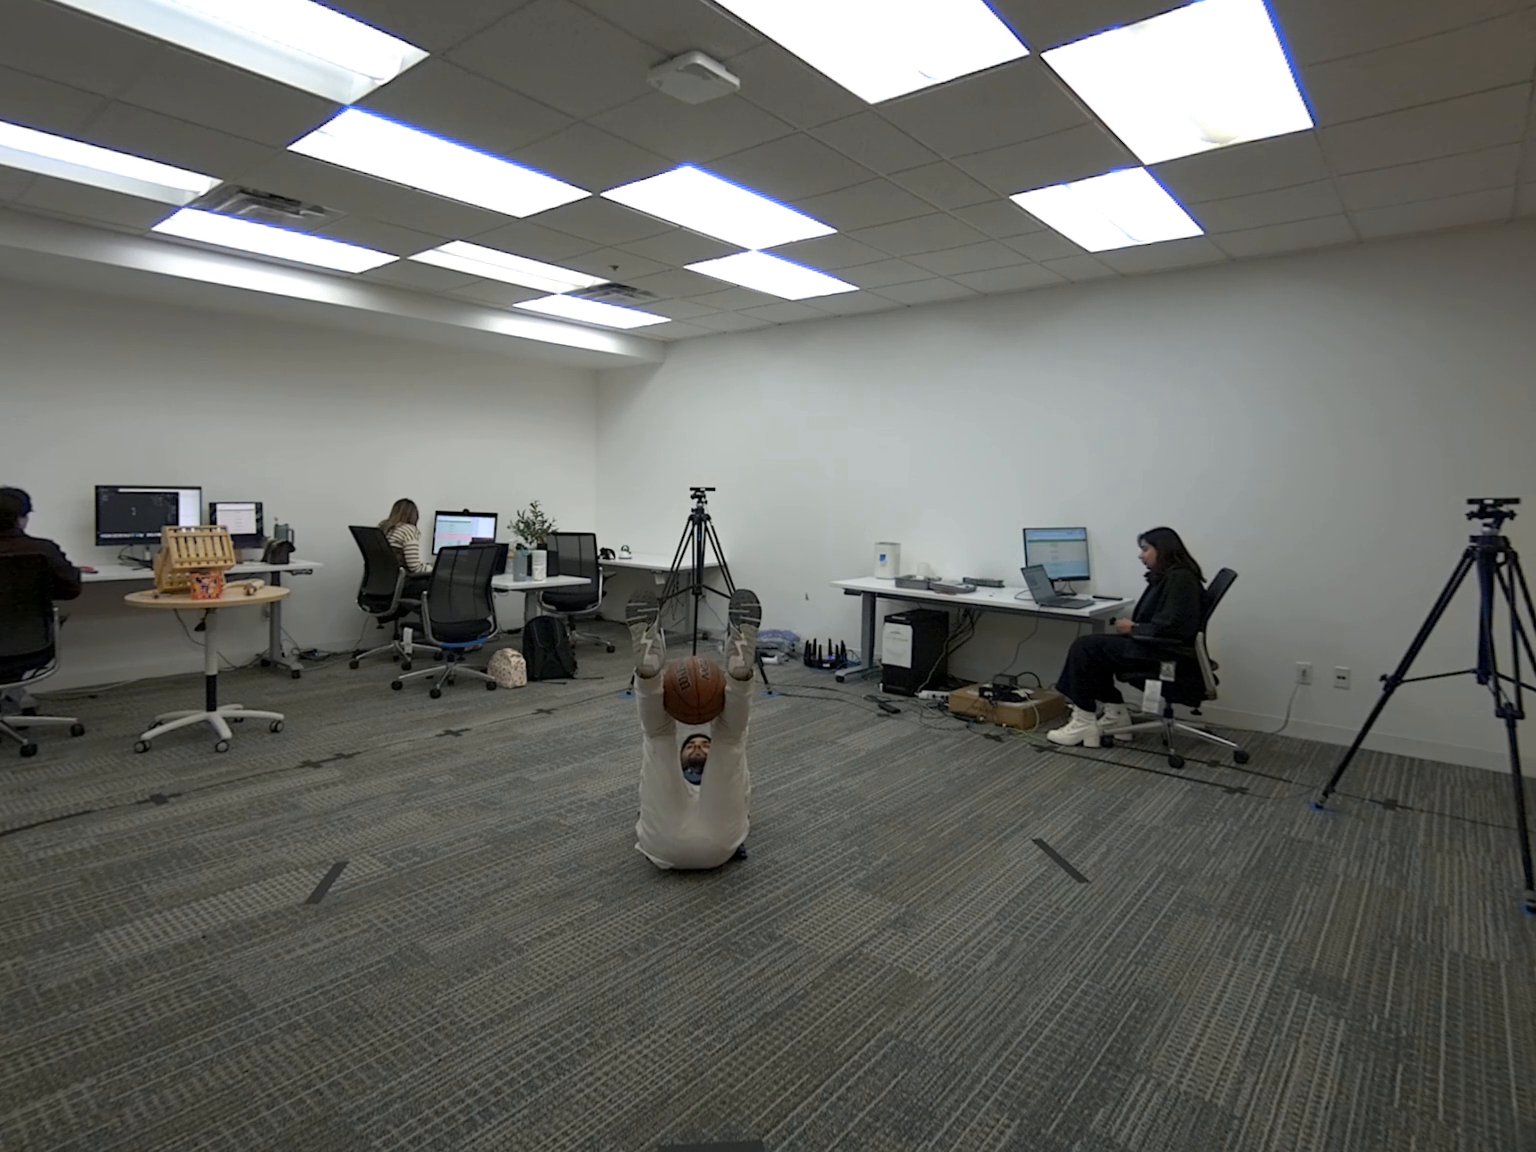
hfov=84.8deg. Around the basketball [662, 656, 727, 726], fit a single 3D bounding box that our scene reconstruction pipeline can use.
[{"bbox_3d":[-0.265,0.398,2.984,0.235,0.235,0.237,1,4,-2],"label":"basketball"}]
